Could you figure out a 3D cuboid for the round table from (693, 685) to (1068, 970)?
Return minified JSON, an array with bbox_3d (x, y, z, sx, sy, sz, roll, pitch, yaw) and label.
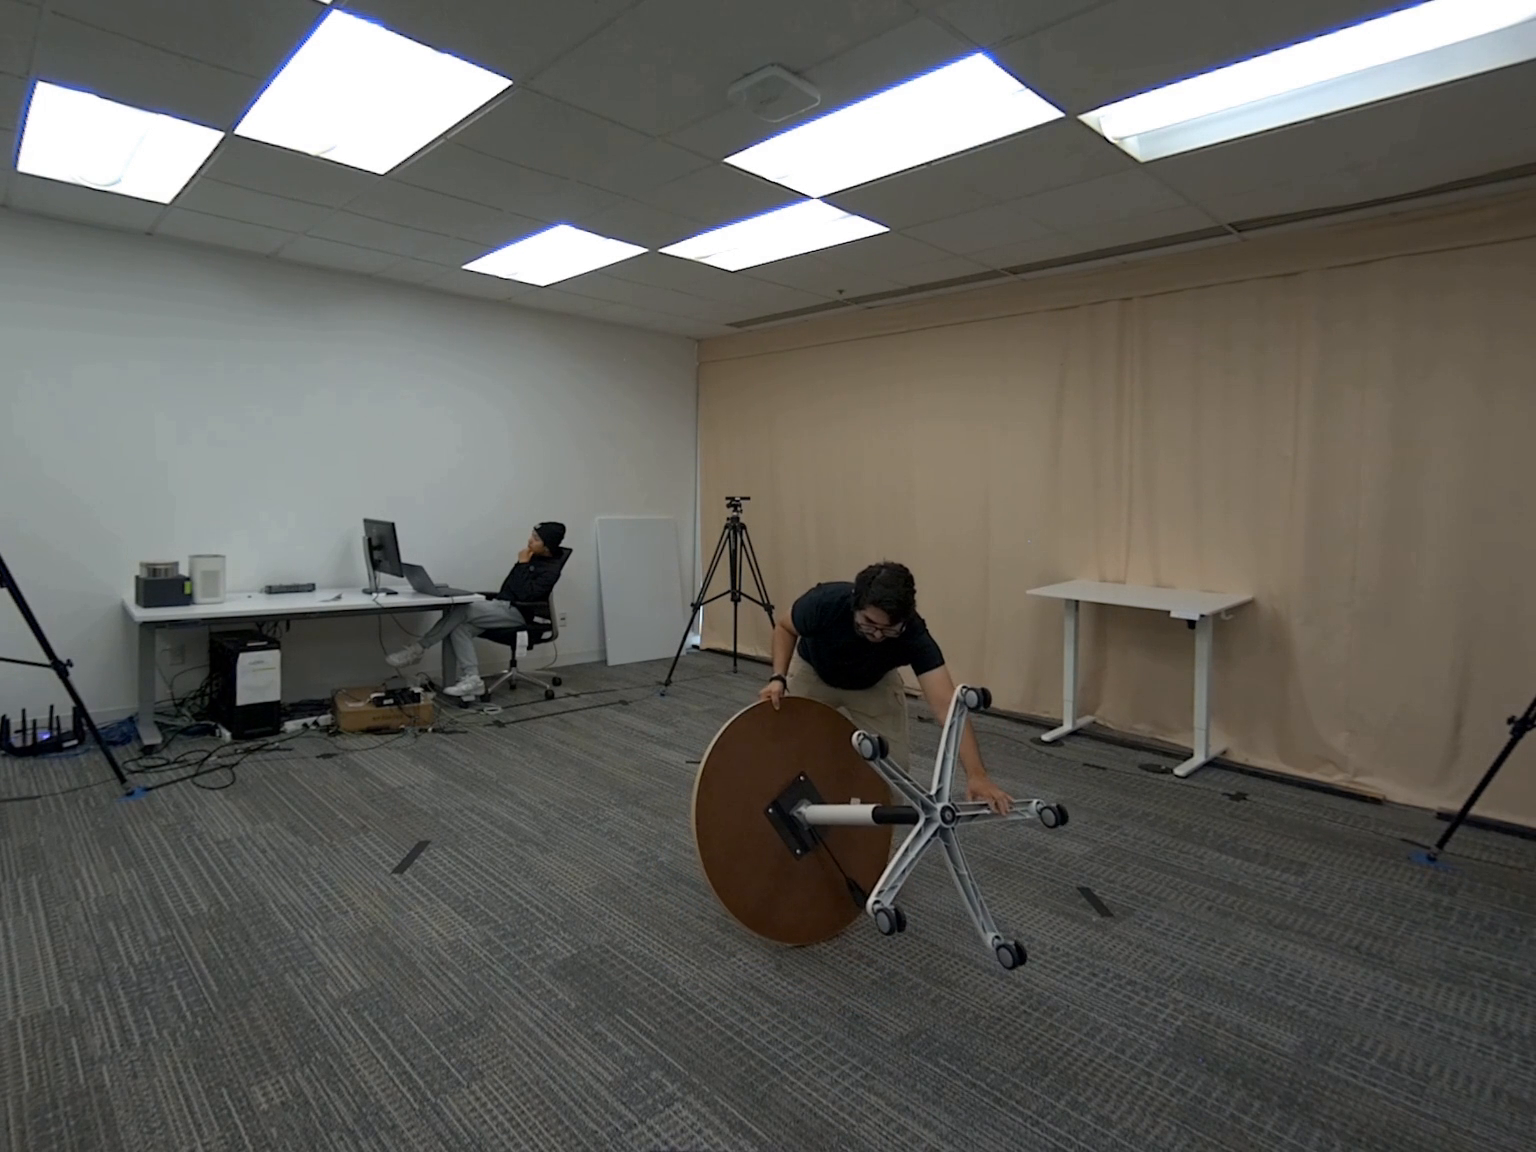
[{"bbox_3d":[0.289,0.693,2.420,0.769,0.793,0.794,-1,-14,-31],"label":"round table"}]
